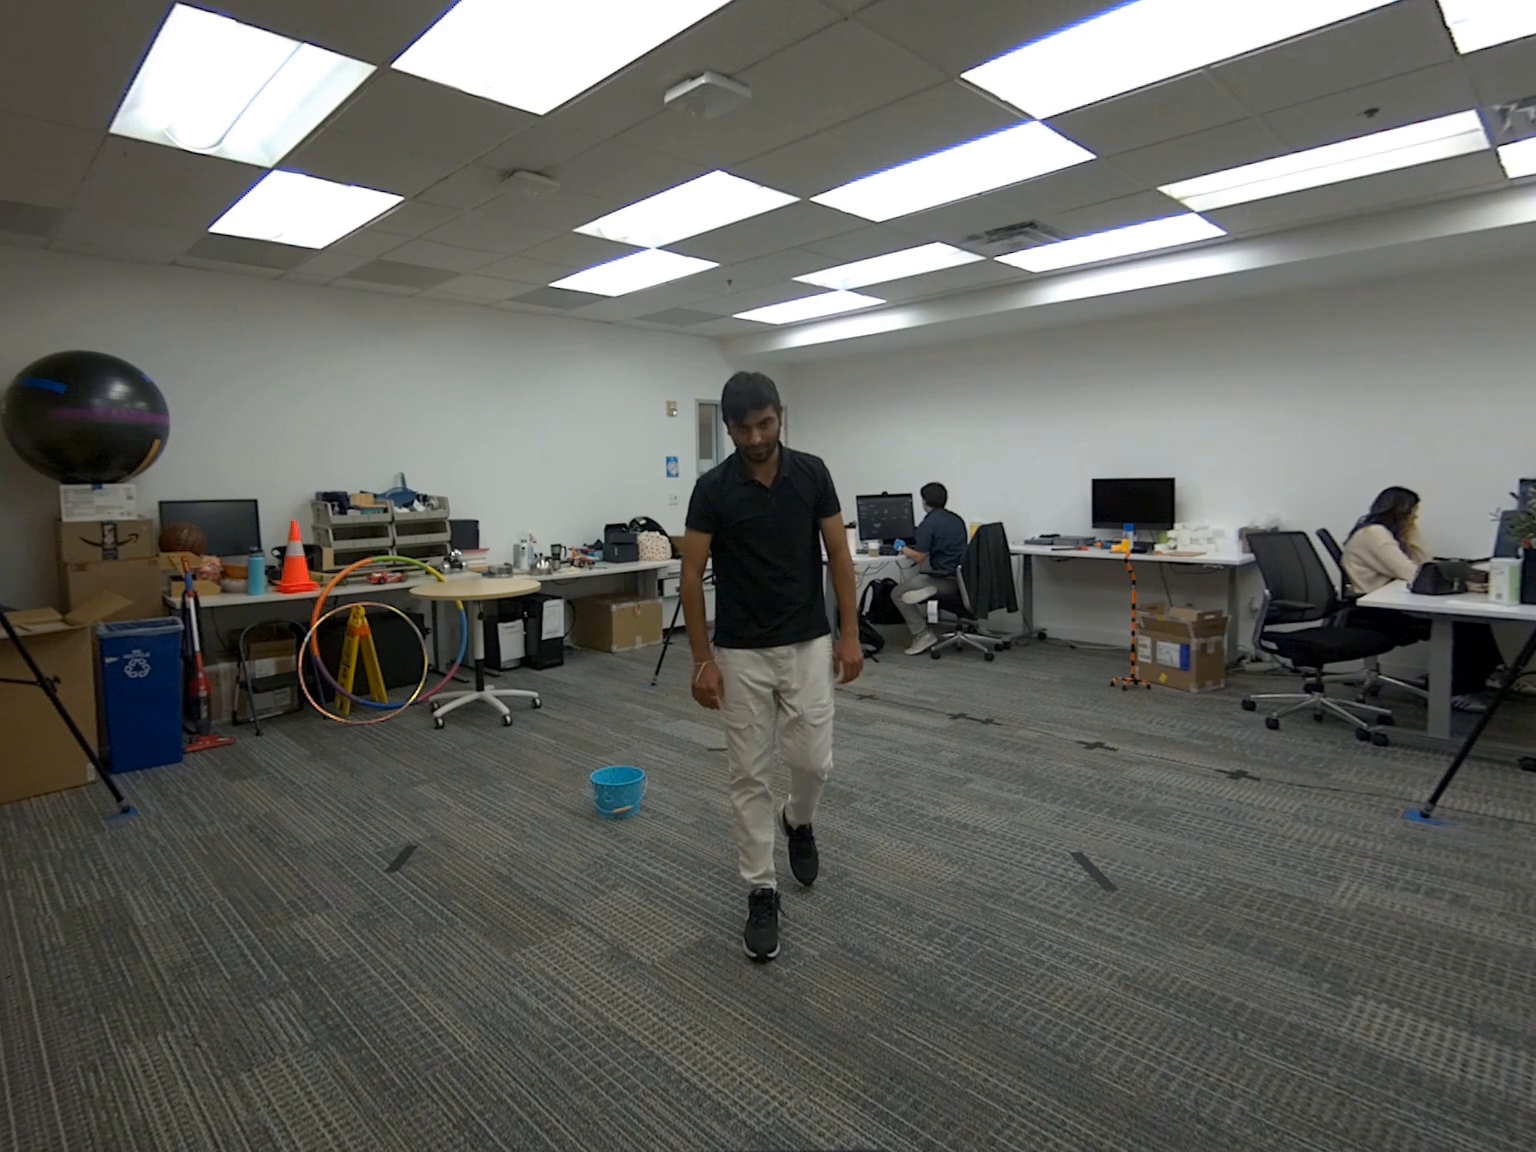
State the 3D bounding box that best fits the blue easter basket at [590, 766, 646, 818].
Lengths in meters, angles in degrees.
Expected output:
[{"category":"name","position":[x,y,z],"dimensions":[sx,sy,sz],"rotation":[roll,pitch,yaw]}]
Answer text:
[{"category":"blue easter basket","position":[-0.640,0.919,3.629],"dimensions":[0.243,0.155,0.245],"rotation":[-2,5,-2]}]
